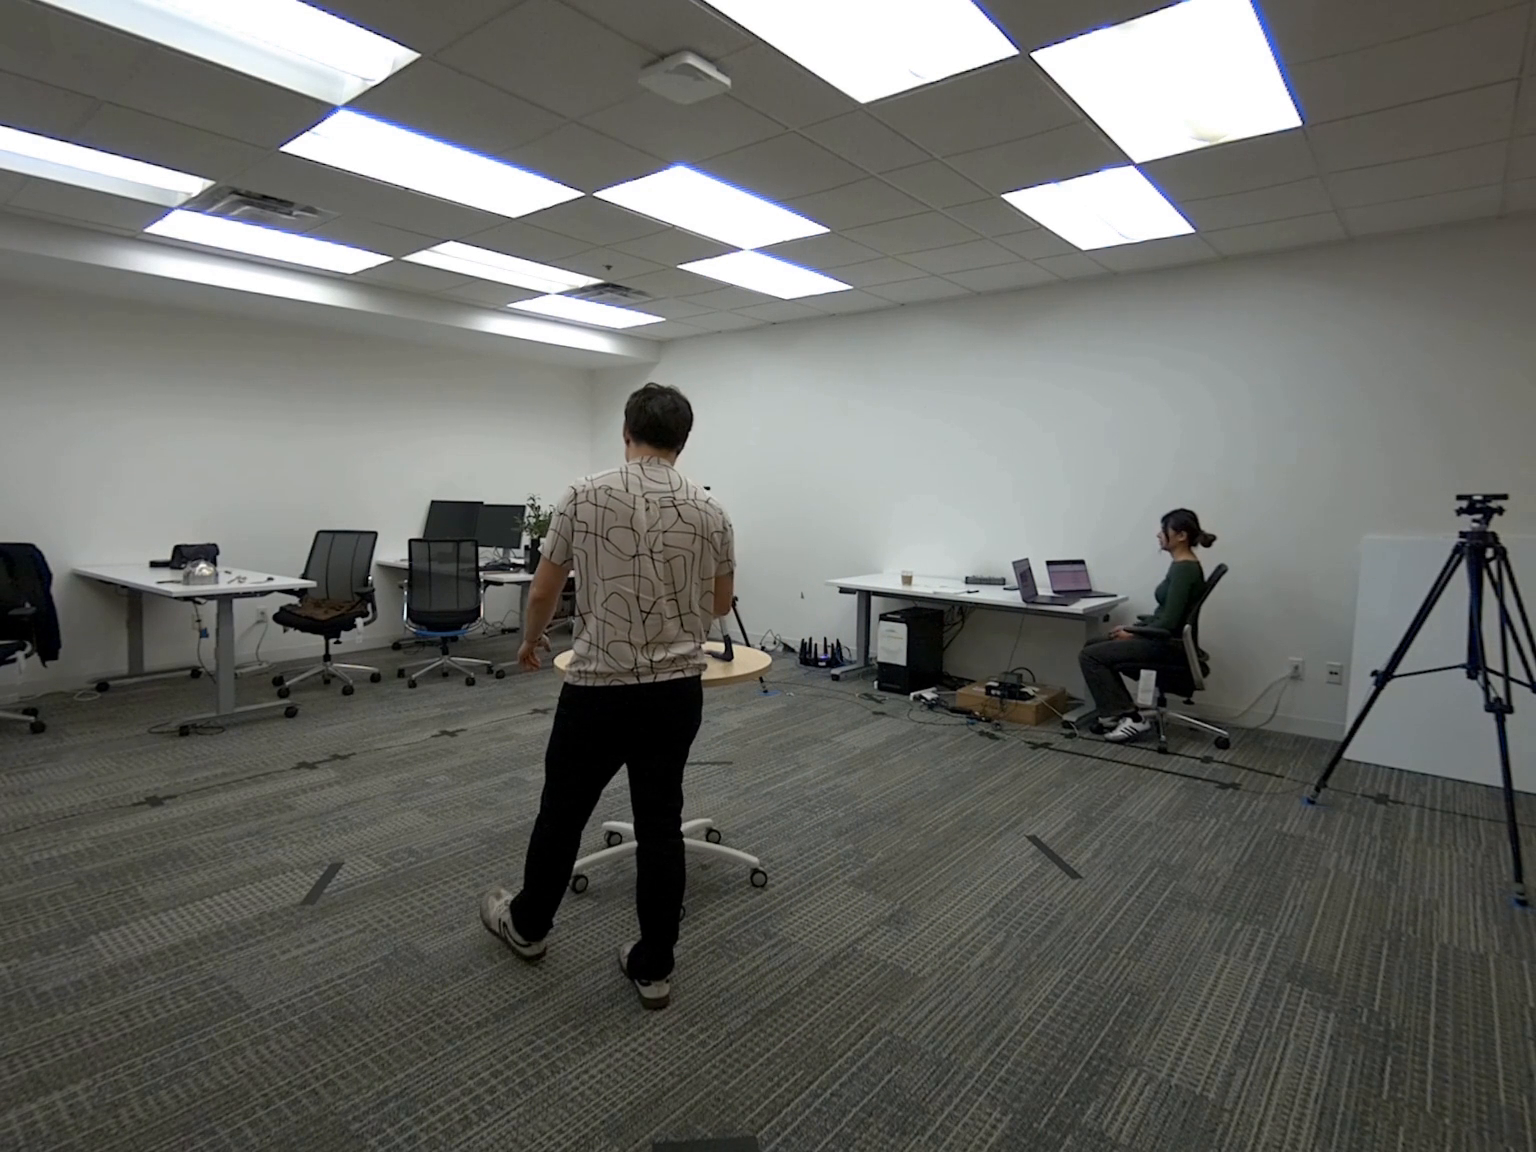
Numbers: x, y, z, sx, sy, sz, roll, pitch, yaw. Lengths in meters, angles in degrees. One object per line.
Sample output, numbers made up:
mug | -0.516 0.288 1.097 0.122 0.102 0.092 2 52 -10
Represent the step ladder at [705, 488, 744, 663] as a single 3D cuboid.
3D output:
step ladder | -0.390 -0.012 2.987 0.339 0.604 0.445 -3 5 -44
